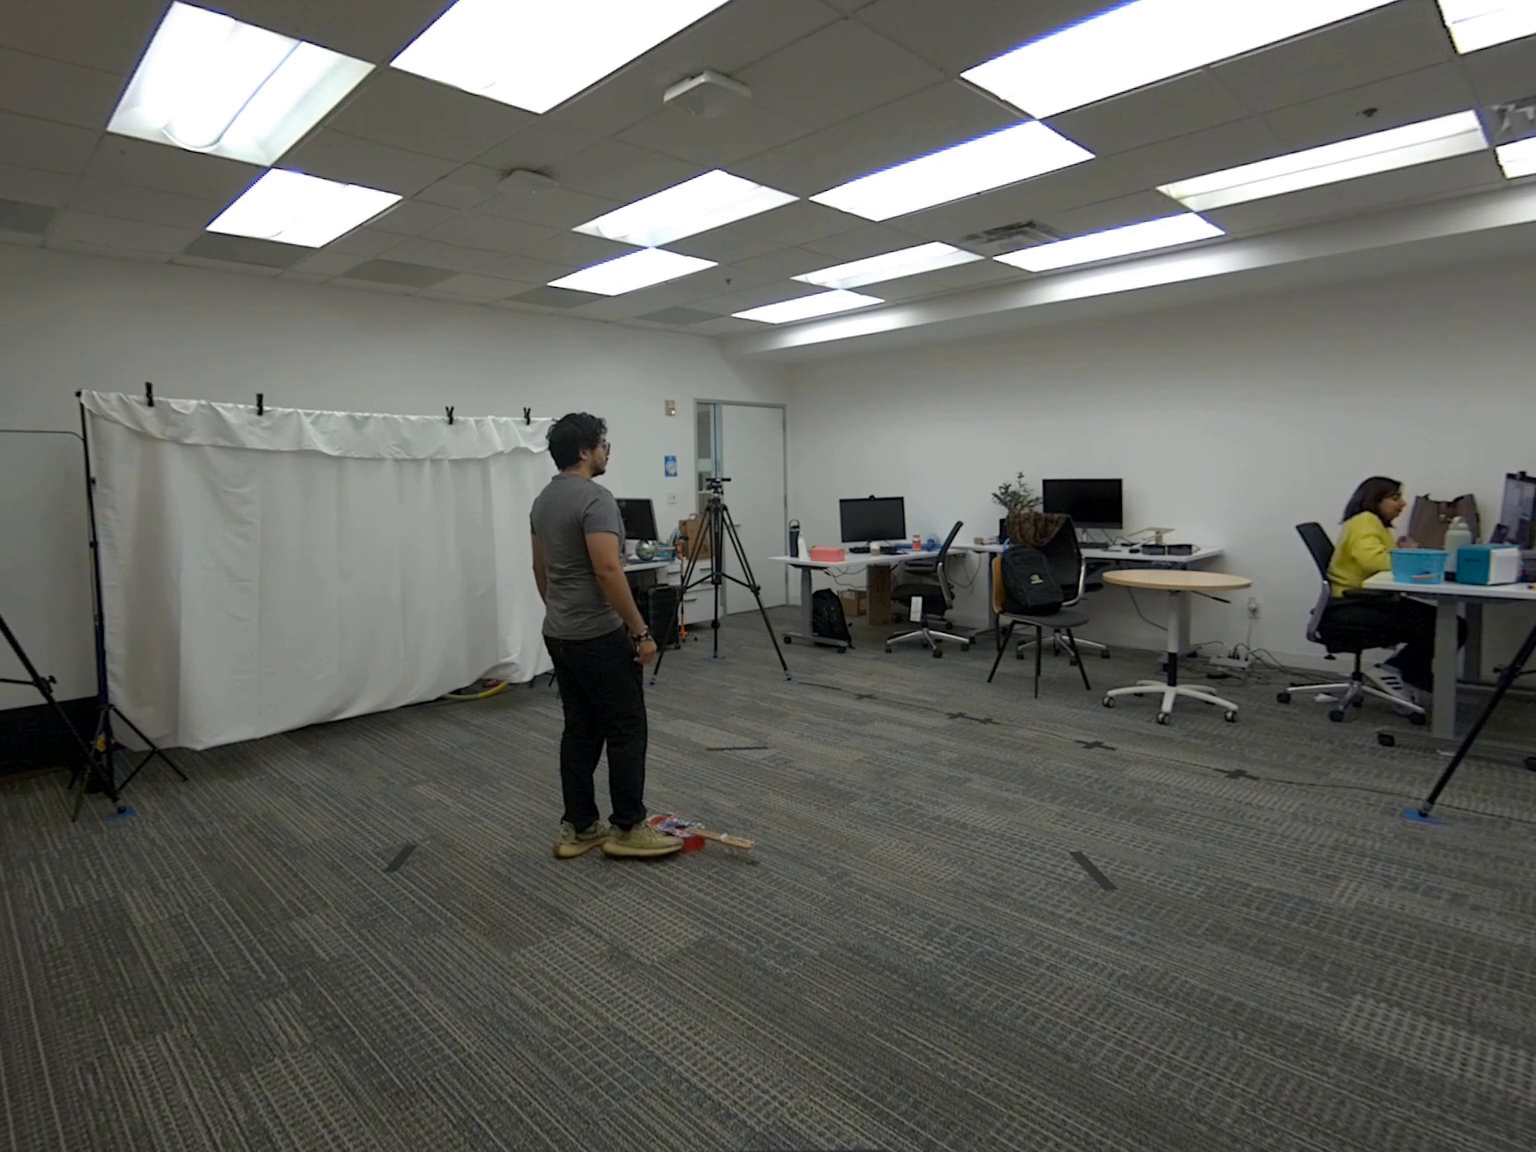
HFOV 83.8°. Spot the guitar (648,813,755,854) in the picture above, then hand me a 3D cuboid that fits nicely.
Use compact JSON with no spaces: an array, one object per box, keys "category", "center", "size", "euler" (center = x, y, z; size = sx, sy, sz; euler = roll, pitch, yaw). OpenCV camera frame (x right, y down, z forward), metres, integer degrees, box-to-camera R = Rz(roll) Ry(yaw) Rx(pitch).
[{"category":"guitar","center":[-0.289,0.996,3.225],"size":[0.513,0.070,0.188],"euler":[4,7,40]}]
